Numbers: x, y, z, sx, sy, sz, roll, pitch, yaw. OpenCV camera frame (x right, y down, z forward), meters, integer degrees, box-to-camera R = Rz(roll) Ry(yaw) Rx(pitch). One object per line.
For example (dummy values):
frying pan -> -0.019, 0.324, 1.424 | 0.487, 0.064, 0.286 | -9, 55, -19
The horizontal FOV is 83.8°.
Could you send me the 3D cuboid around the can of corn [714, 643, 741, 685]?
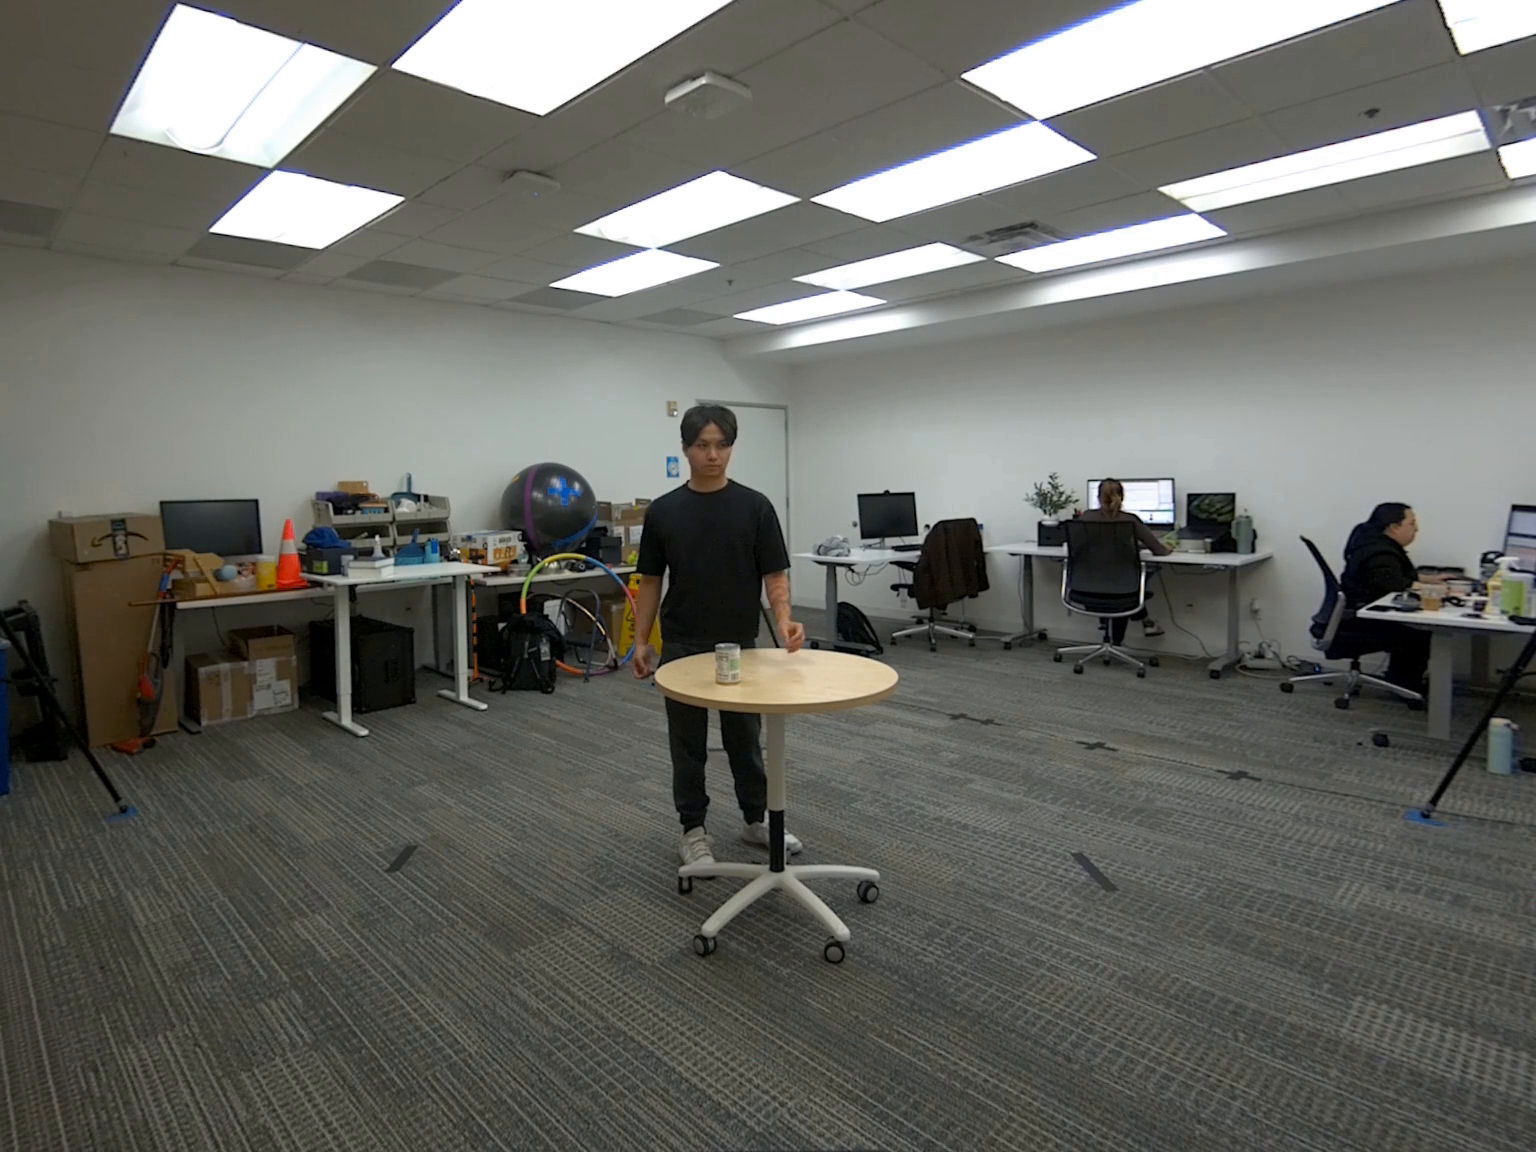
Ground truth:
can of corn -> -0.118, 0.270, 2.576 | 0.074, 0.110, 0.075 | -4, 6, -1
